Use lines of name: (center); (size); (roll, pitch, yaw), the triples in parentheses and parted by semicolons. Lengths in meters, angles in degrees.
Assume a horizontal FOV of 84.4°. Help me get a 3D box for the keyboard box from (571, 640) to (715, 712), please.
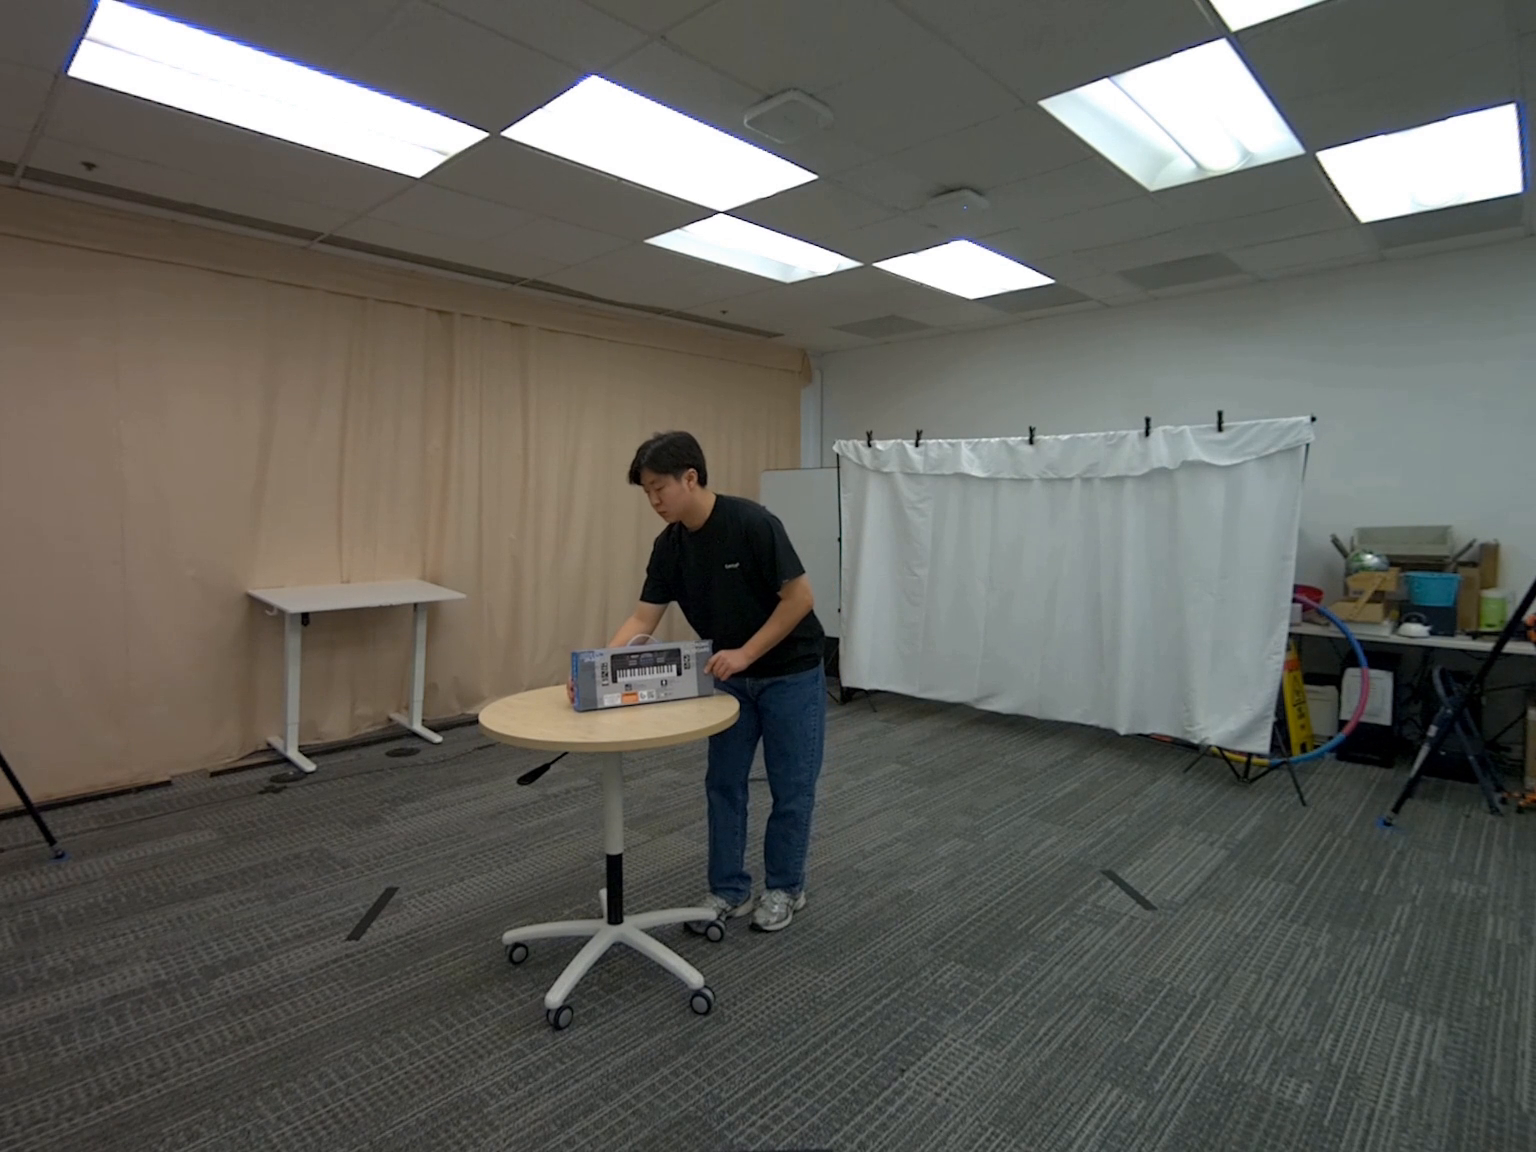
keyboard box: (-0.382, 0.304, 2.560); (0.427, 0.176, 0.060); (-2, 0, -22)
